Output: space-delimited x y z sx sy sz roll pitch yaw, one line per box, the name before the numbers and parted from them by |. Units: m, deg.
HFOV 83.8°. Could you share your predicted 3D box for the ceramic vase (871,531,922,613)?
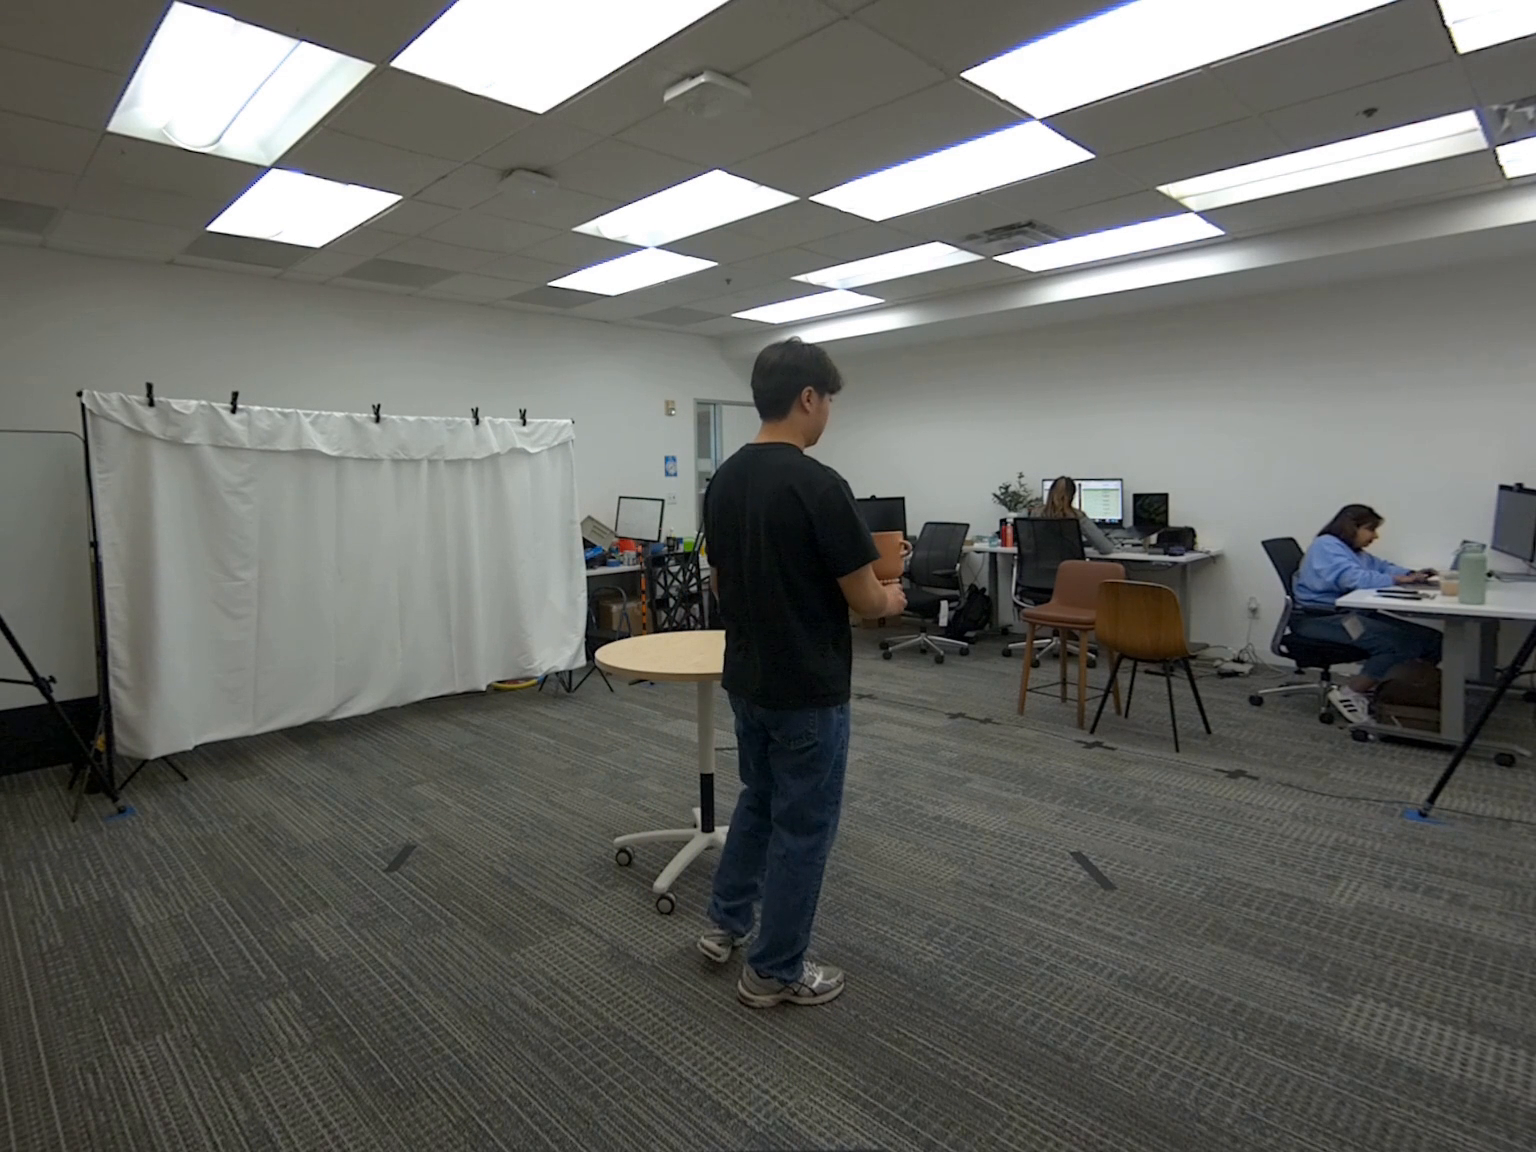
ceramic vase | 0.333 -0.014 2.450 0.133 0.219 0.161 -4 2 -14
